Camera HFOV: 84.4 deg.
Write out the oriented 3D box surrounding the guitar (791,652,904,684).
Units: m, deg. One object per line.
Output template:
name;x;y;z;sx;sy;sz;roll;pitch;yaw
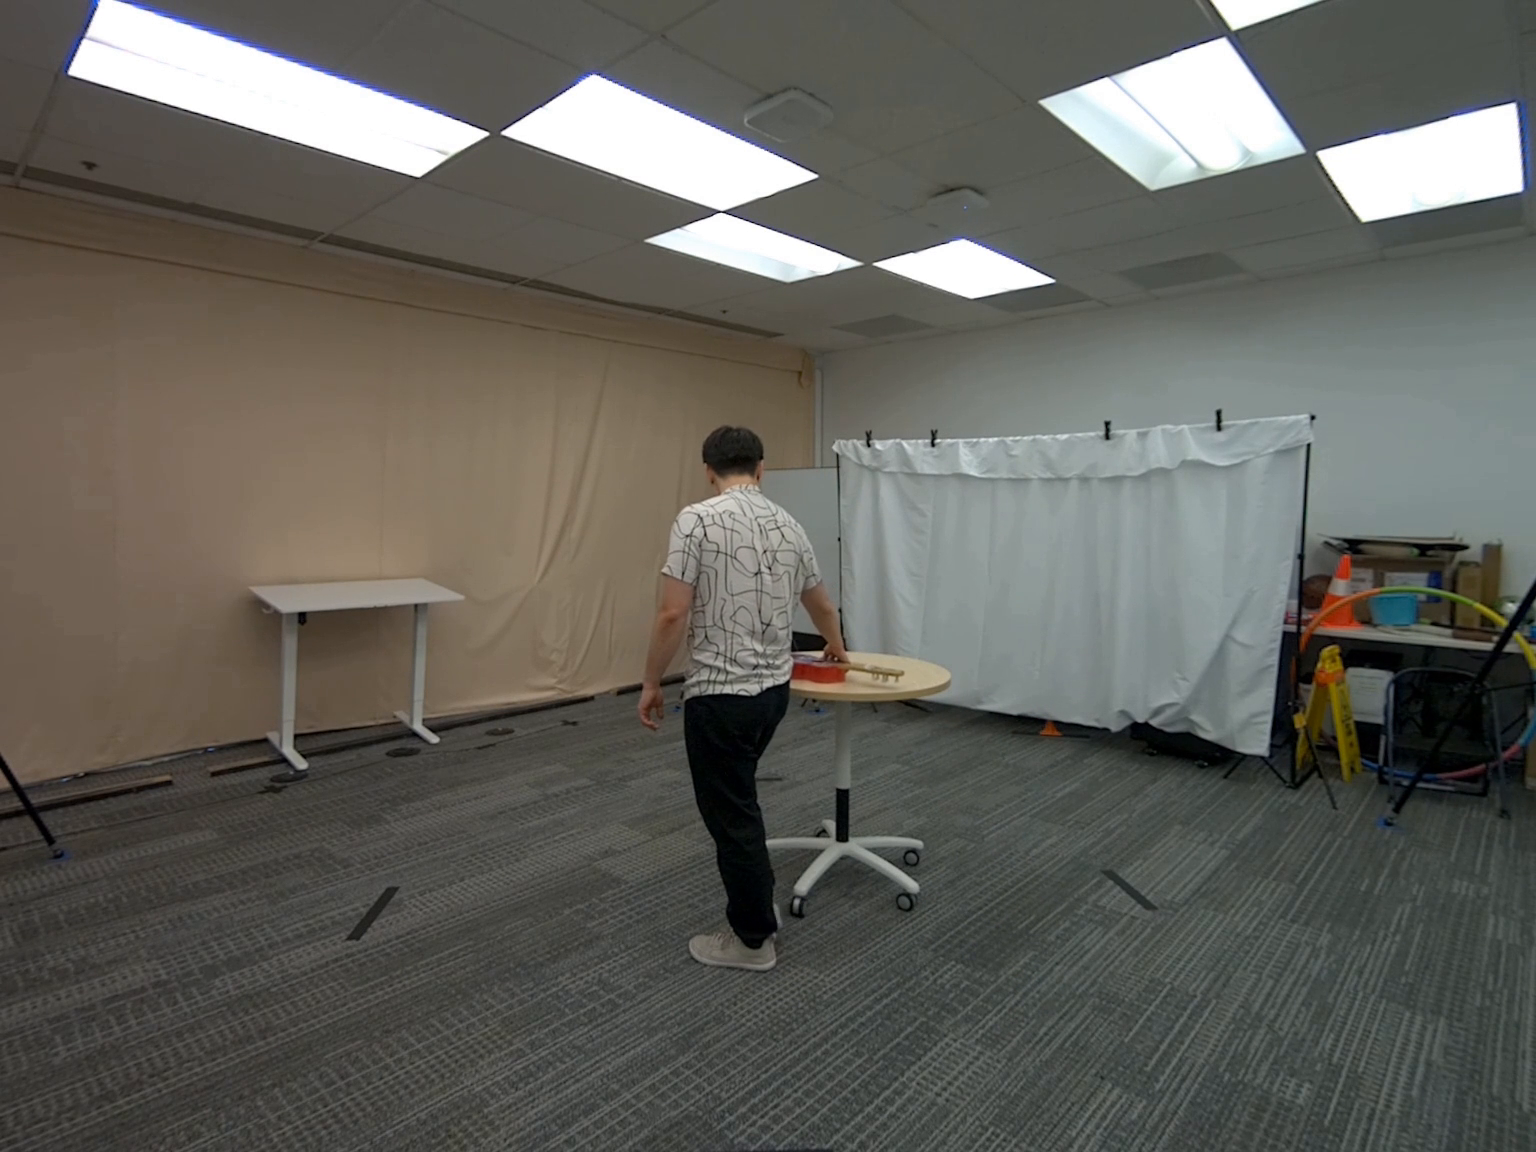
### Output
guitar;0.217;0.333;2.905;0.187;0.070;0.515;-4;6;-45
